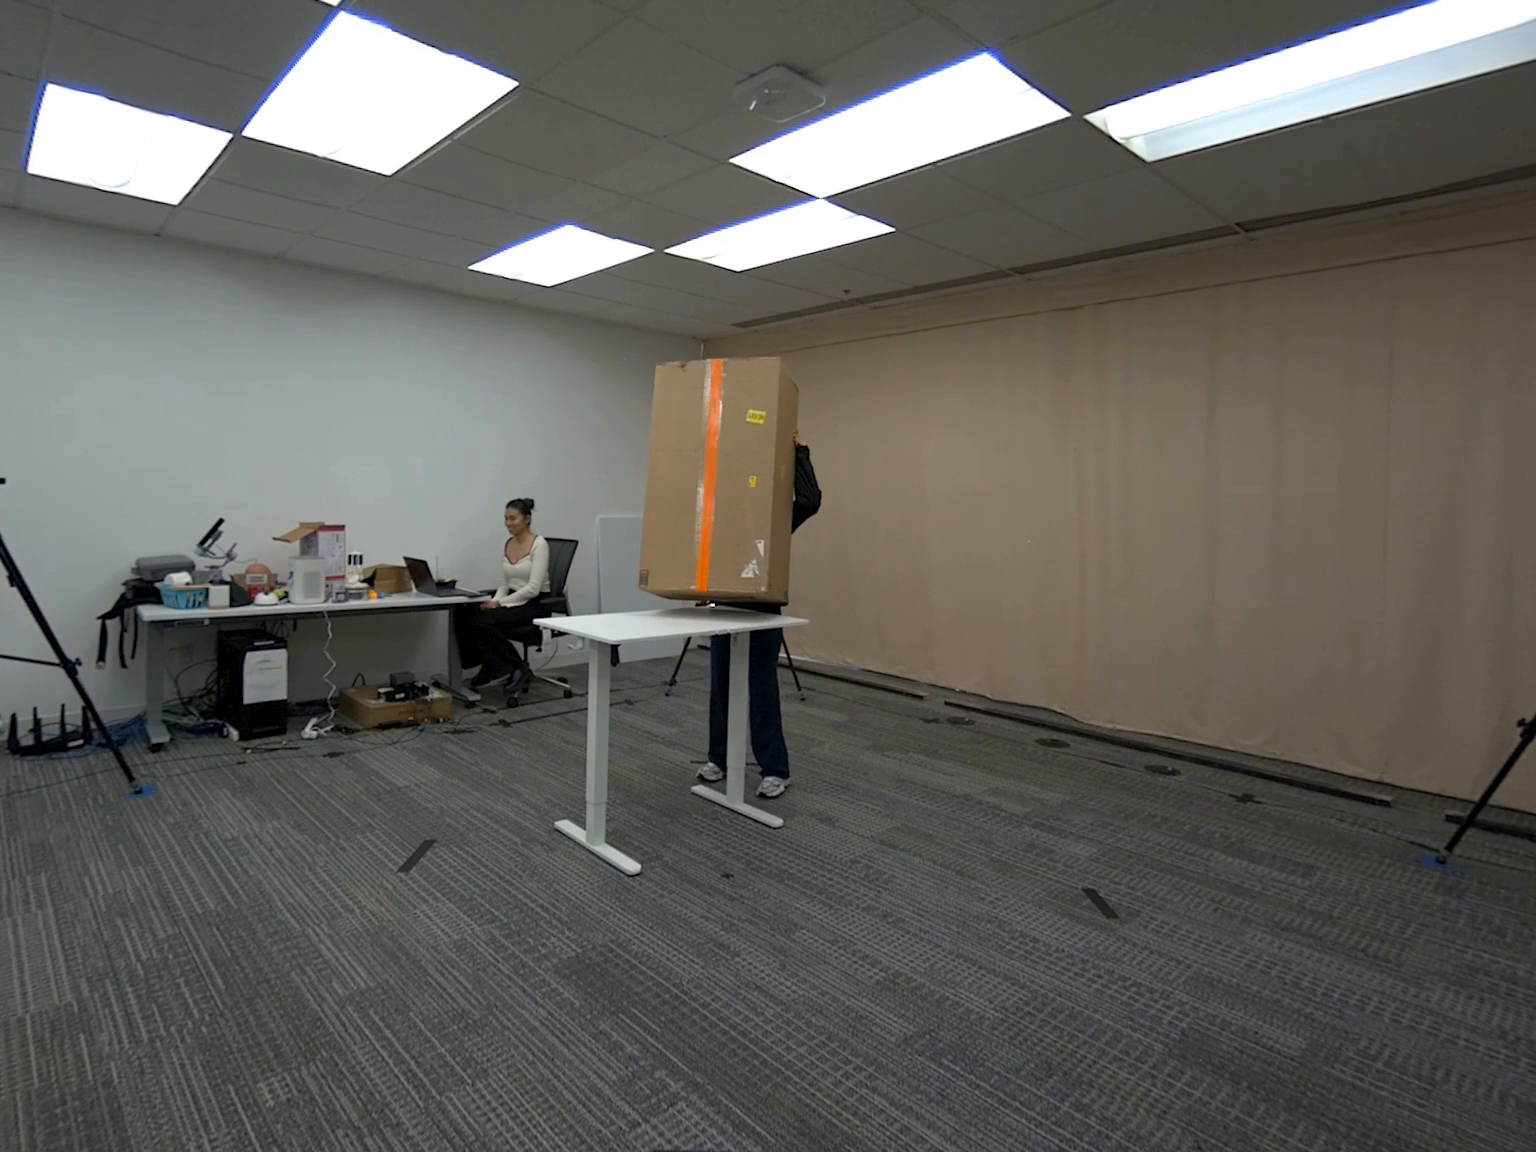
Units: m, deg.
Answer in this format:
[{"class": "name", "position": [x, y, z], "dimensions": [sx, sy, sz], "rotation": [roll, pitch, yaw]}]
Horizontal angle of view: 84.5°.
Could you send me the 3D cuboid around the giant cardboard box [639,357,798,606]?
[{"class": "giant cardboard box", "position": [-0.209, -0.410, 3.789], "dimensions": [0.592, 1.033, 0.438], "rotation": [1, -9, 17]}]
